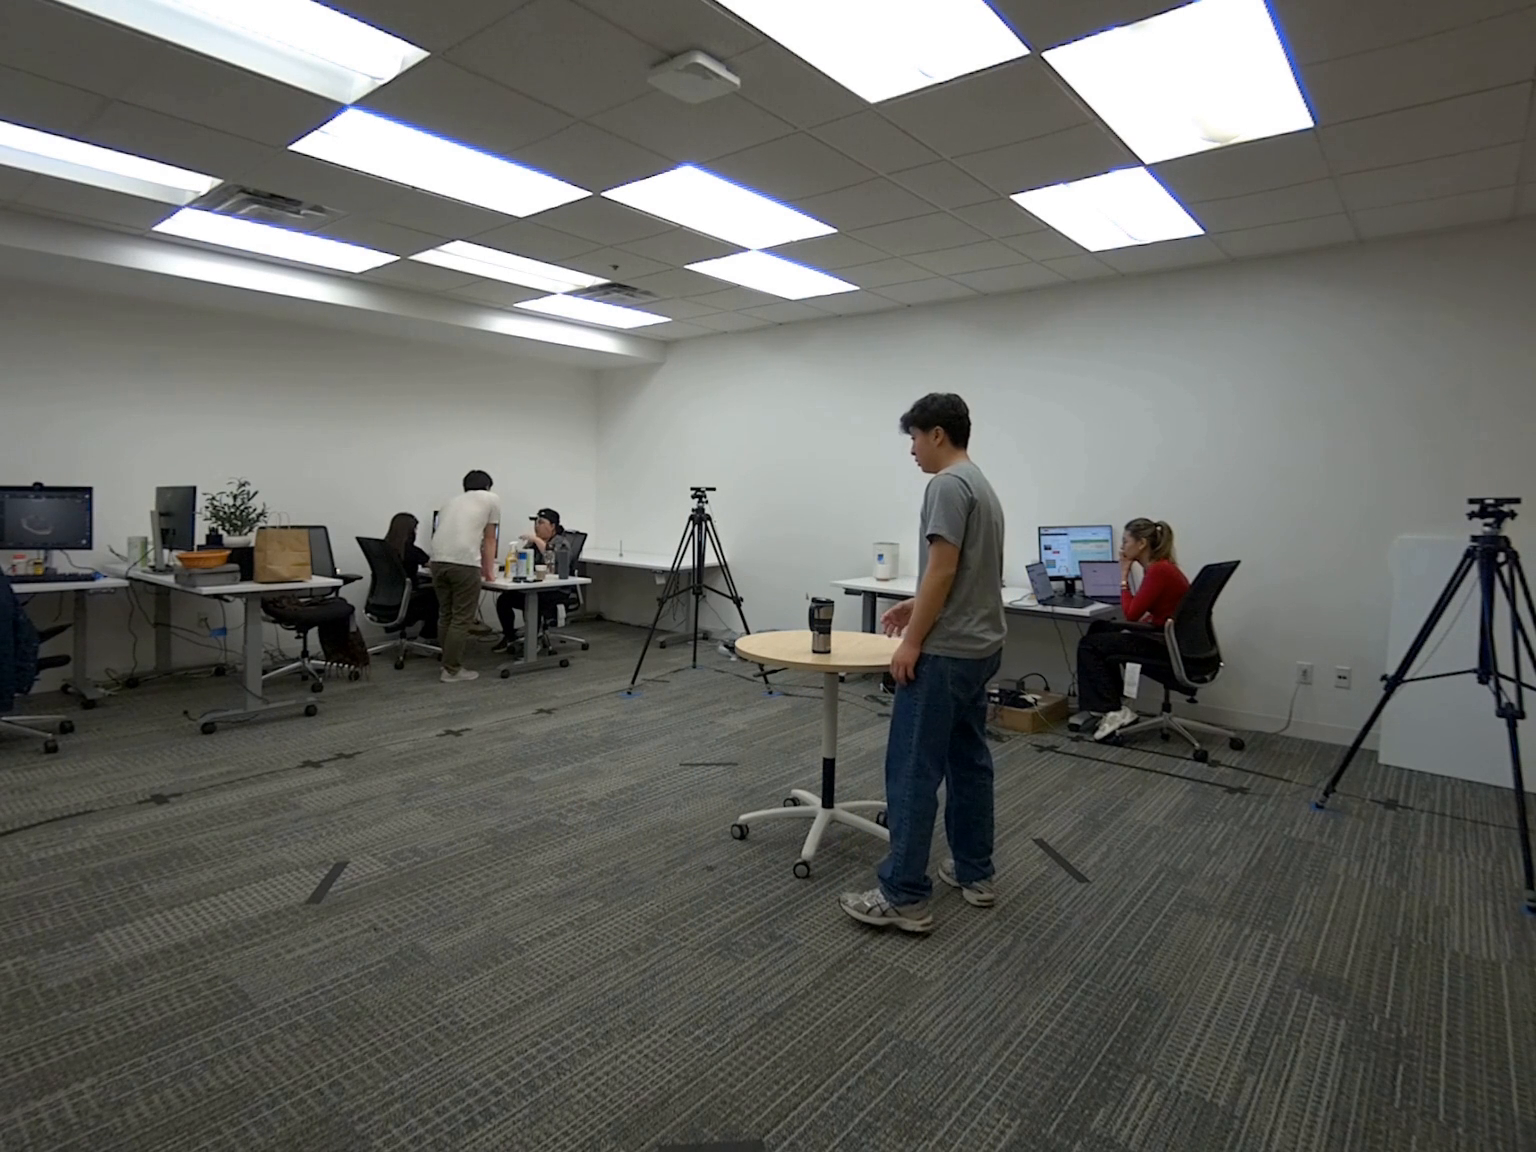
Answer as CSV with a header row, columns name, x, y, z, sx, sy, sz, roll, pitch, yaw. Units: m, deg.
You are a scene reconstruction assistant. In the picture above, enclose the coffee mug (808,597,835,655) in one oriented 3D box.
name,x,y,z,sx,sy,sz,roll,pitch,yaw
coffee mug,0.176,0.186,3.173,0.119,0.202,0.090,1,6,-26
